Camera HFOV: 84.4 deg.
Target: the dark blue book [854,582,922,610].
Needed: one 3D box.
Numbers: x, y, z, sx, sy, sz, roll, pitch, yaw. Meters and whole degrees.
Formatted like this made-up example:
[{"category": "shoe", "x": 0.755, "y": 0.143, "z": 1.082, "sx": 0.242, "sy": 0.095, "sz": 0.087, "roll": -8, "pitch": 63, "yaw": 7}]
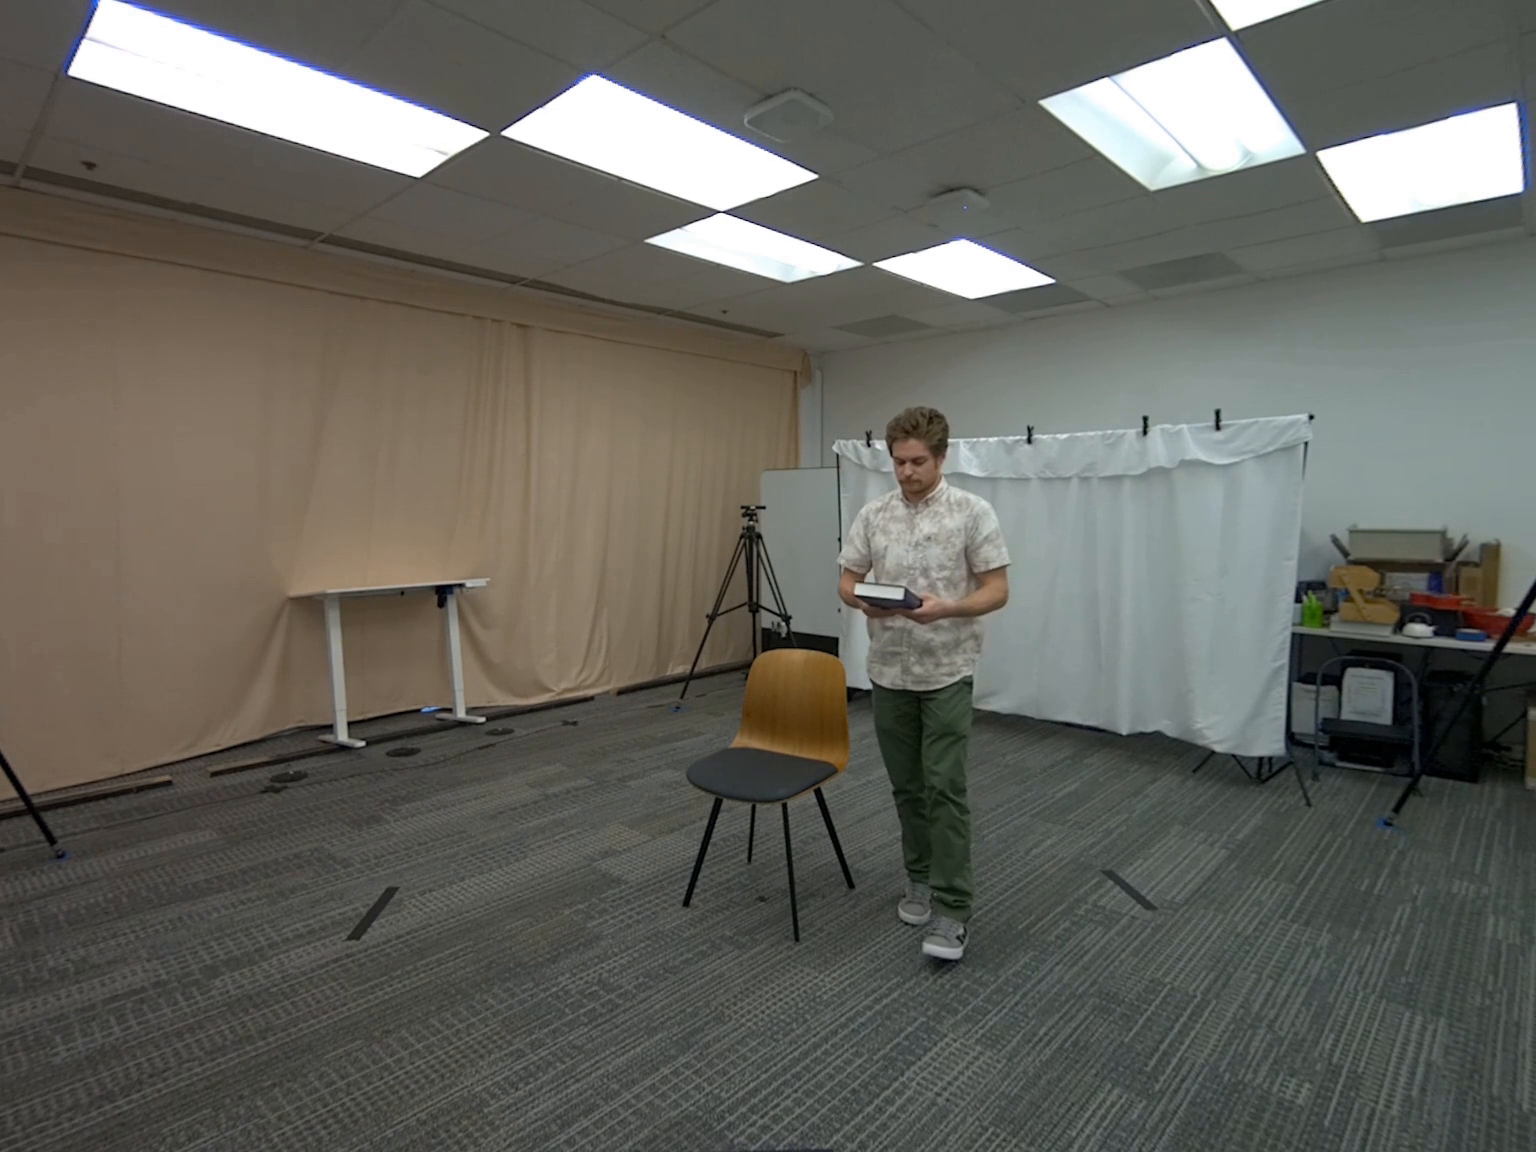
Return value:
[{"category": "dark blue book", "x": 0.381, "y": 0.068, "z": 2.585, "sx": 0.168, "sy": 0.045, "sz": 0.237, "roll": 7, "pitch": -8, "yaw": 28}]
